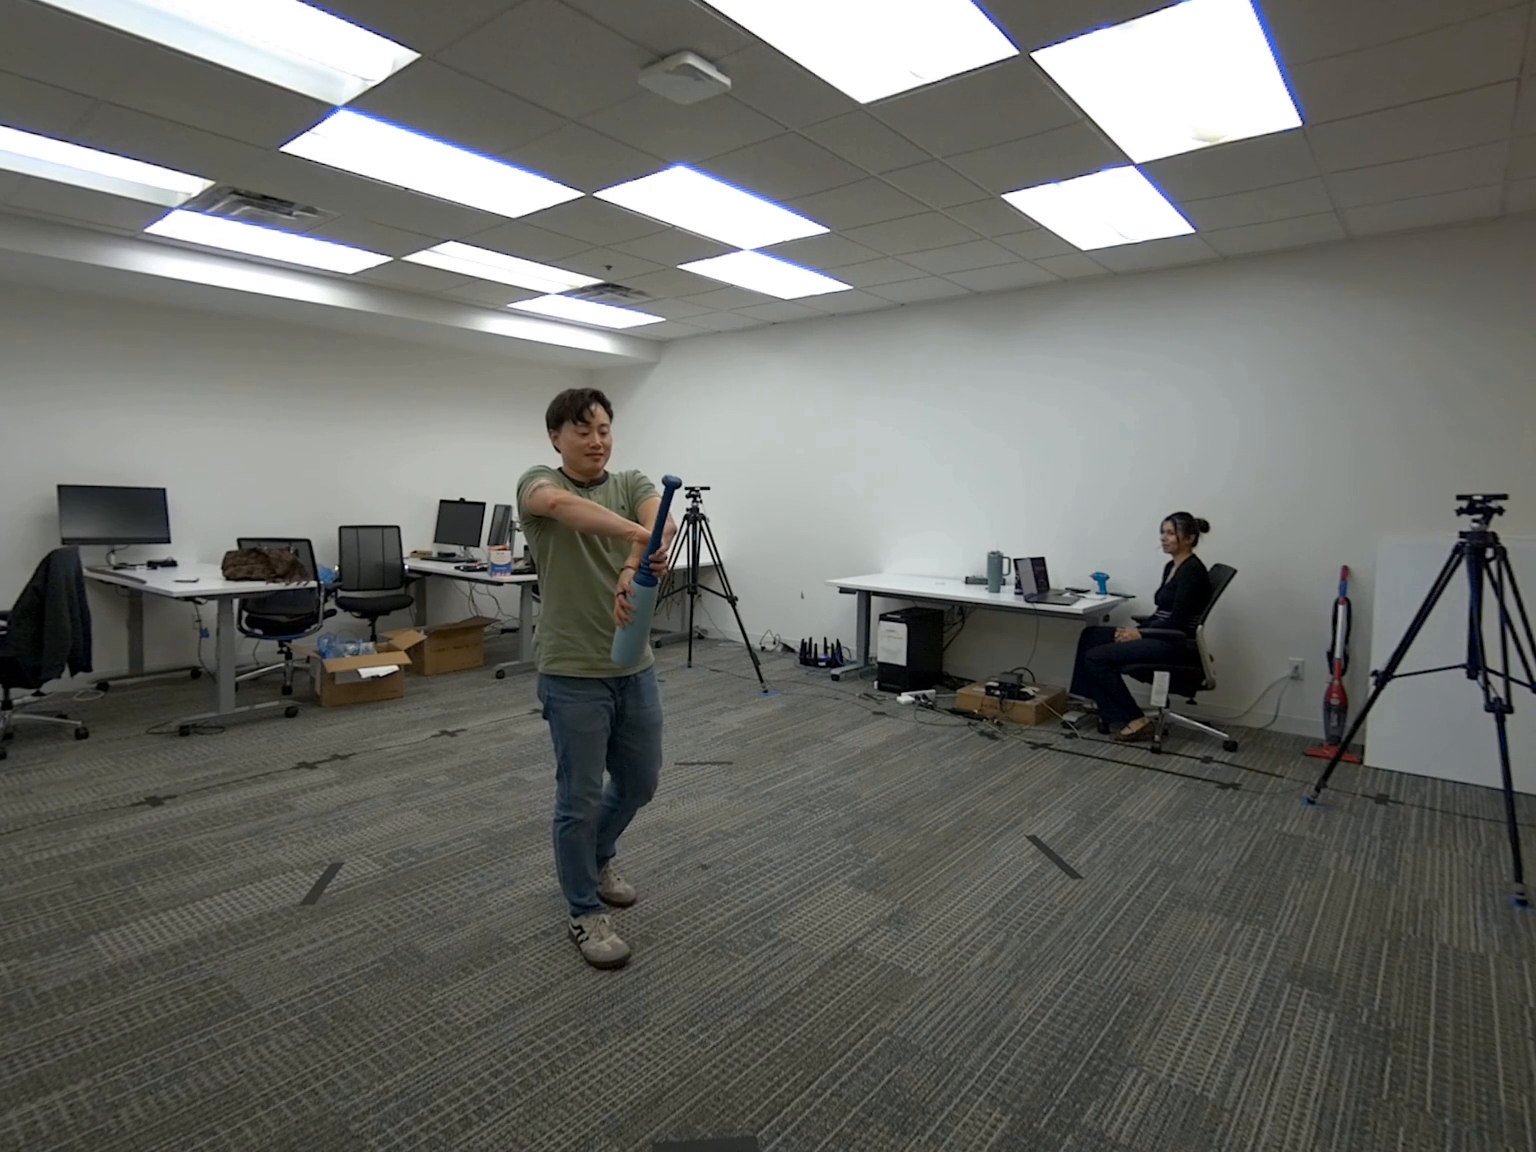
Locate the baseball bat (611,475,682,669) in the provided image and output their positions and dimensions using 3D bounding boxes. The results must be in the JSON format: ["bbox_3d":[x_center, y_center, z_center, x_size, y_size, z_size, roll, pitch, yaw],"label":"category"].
[{"bbox_3d":[-0.311,-0.008,2.169,0.088,0.536,0.091,15,22,-8],"label":"baseball bat"}]
